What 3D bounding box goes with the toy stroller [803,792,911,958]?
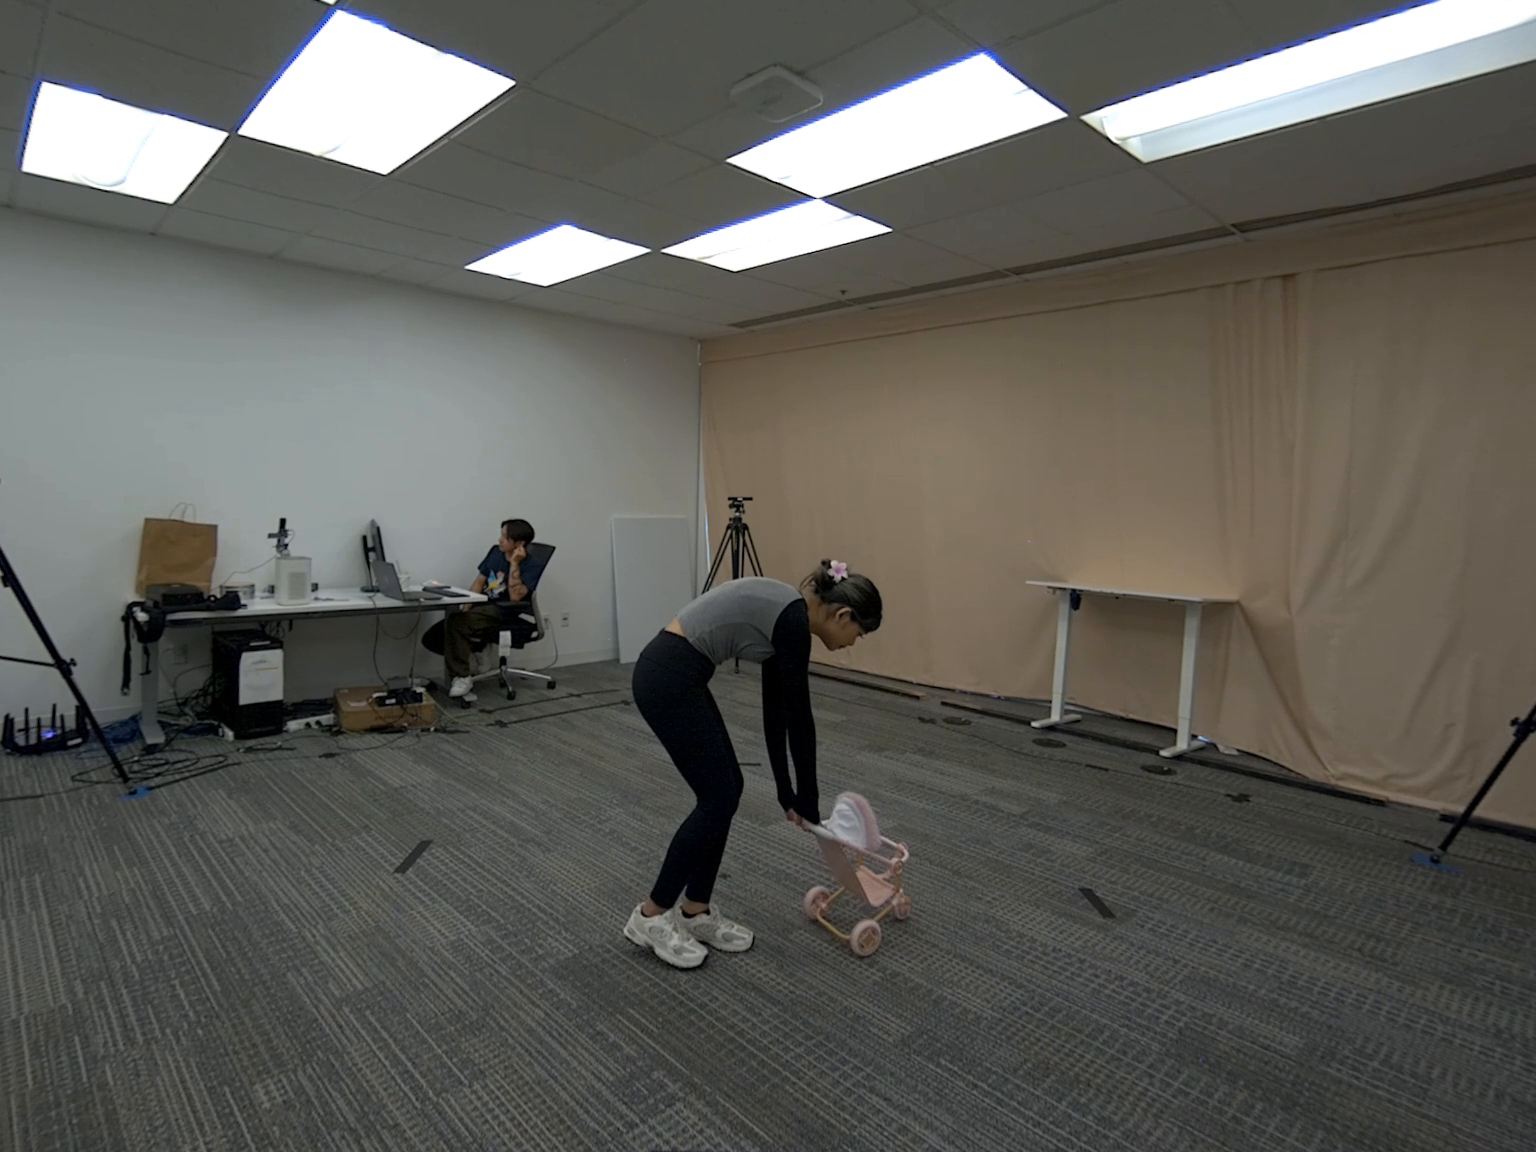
[{"bbox_3d":[0.282,0.929,2.705,0.337,0.529,0.288,-18,13,-25],"label":"toy stroller"}]
